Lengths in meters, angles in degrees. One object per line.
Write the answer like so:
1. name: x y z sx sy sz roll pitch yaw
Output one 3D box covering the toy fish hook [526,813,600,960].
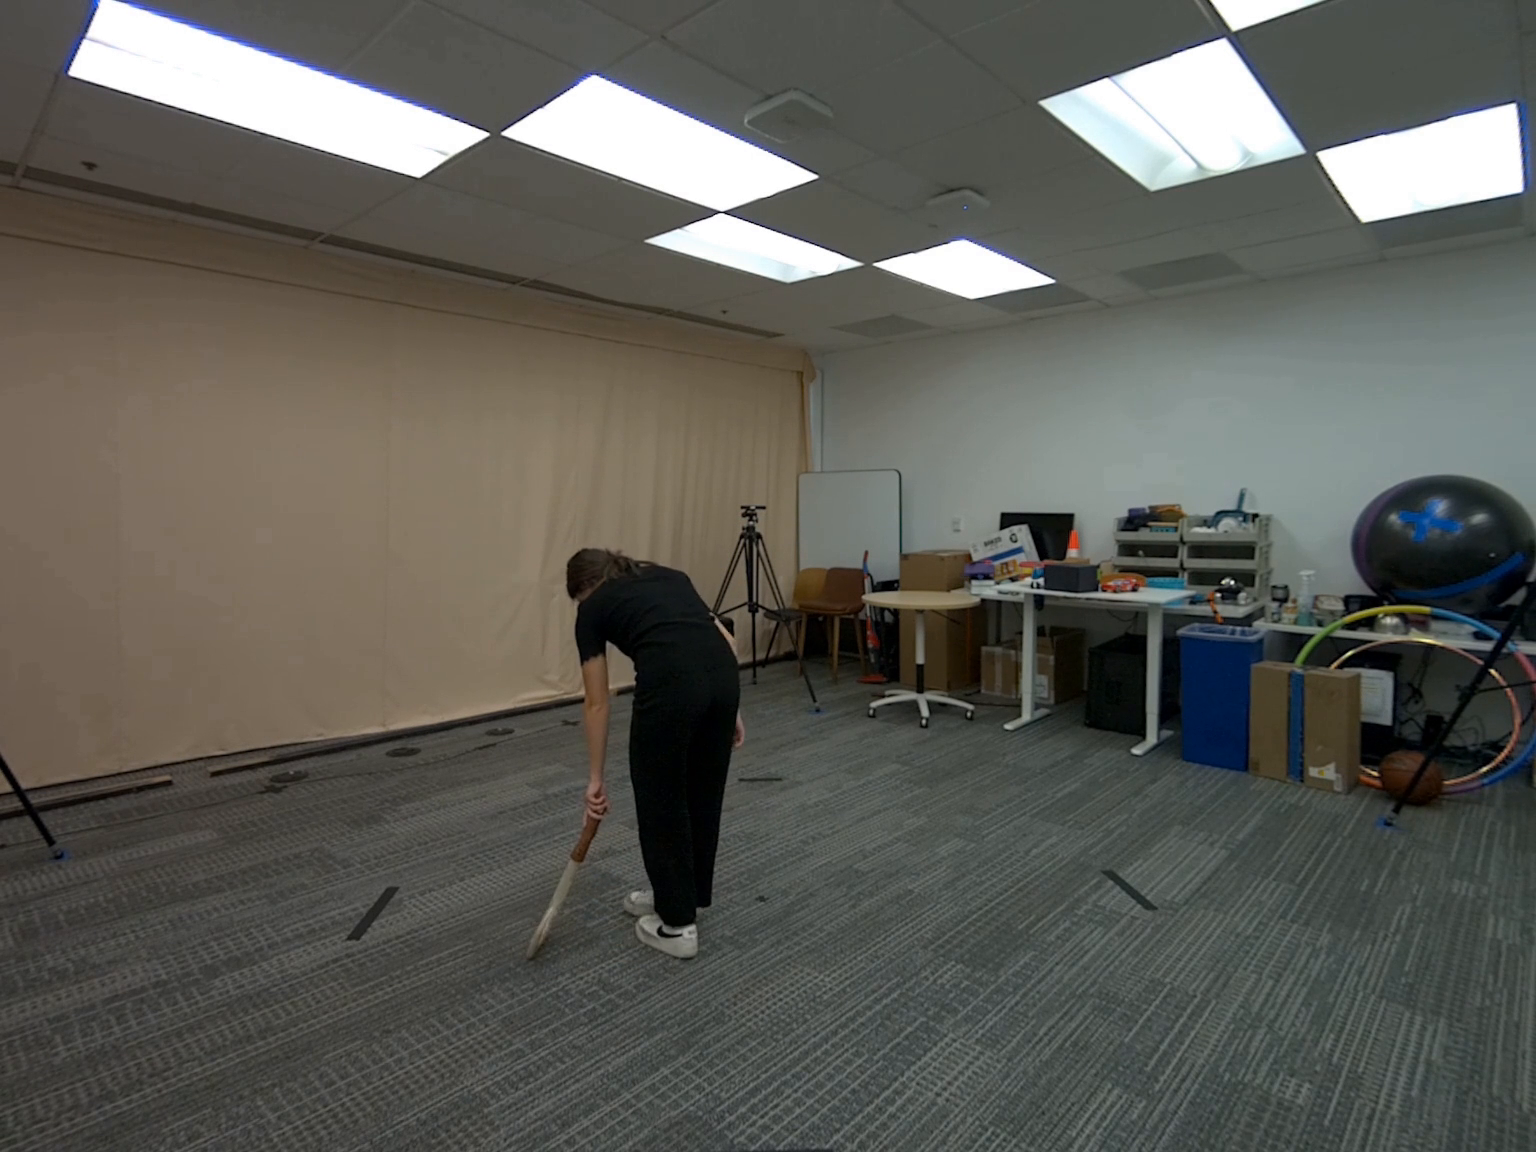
1. toy fish hook: -0.629 0.957 2.627 0.048 0.506 0.225 25 3 -4
